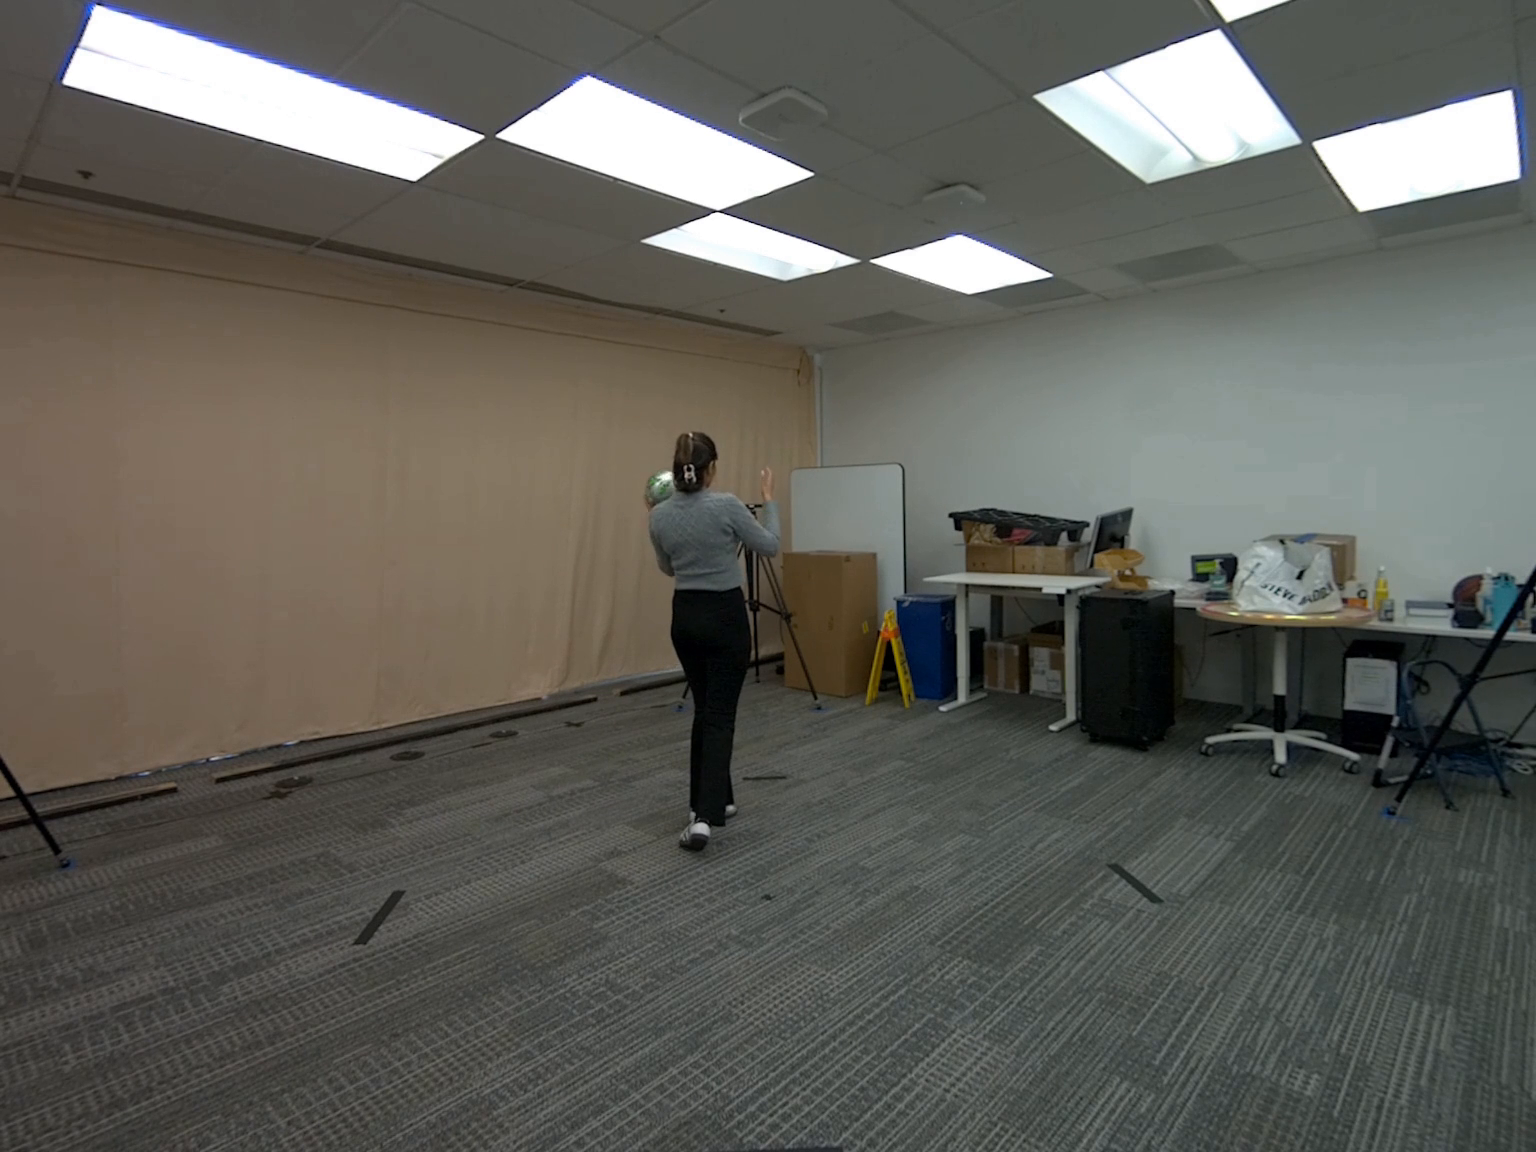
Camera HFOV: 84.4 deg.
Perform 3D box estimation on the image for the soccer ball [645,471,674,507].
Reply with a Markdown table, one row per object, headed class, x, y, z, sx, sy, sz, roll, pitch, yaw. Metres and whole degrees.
| class | x | y | z | sx | sy | sz | roll | pitch | yaw |
| --- | --- | --- | --- | --- | --- | --- | --- | --- | --- |
| soccer ball | -0.462 | -0.392 | 3.884 | 0.187 | 0.187 | 0.188 | -1 | 4 | -2 |
